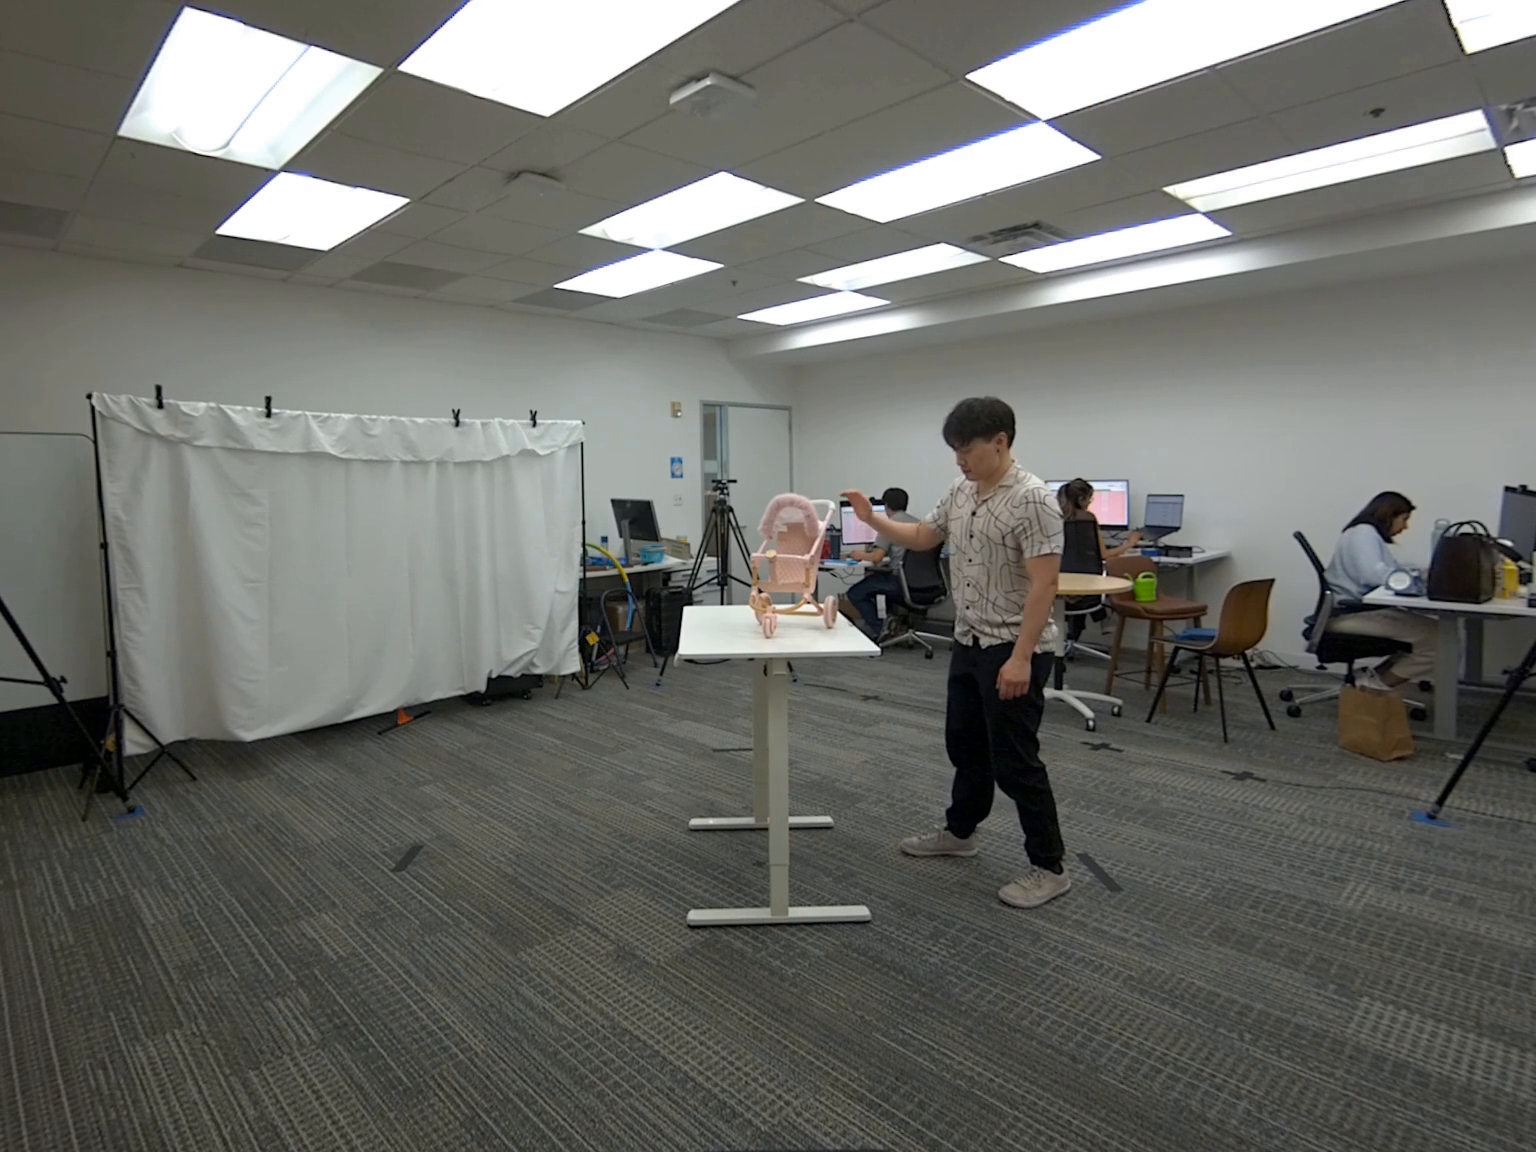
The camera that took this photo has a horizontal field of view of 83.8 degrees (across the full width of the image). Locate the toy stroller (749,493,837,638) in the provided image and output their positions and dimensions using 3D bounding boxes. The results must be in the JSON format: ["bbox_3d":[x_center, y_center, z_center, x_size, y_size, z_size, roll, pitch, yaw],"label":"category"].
[{"bbox_3d":[0.075,-0.043,2.932,0.288,0.539,0.330,0,-11,28],"label":"toy stroller"}]
